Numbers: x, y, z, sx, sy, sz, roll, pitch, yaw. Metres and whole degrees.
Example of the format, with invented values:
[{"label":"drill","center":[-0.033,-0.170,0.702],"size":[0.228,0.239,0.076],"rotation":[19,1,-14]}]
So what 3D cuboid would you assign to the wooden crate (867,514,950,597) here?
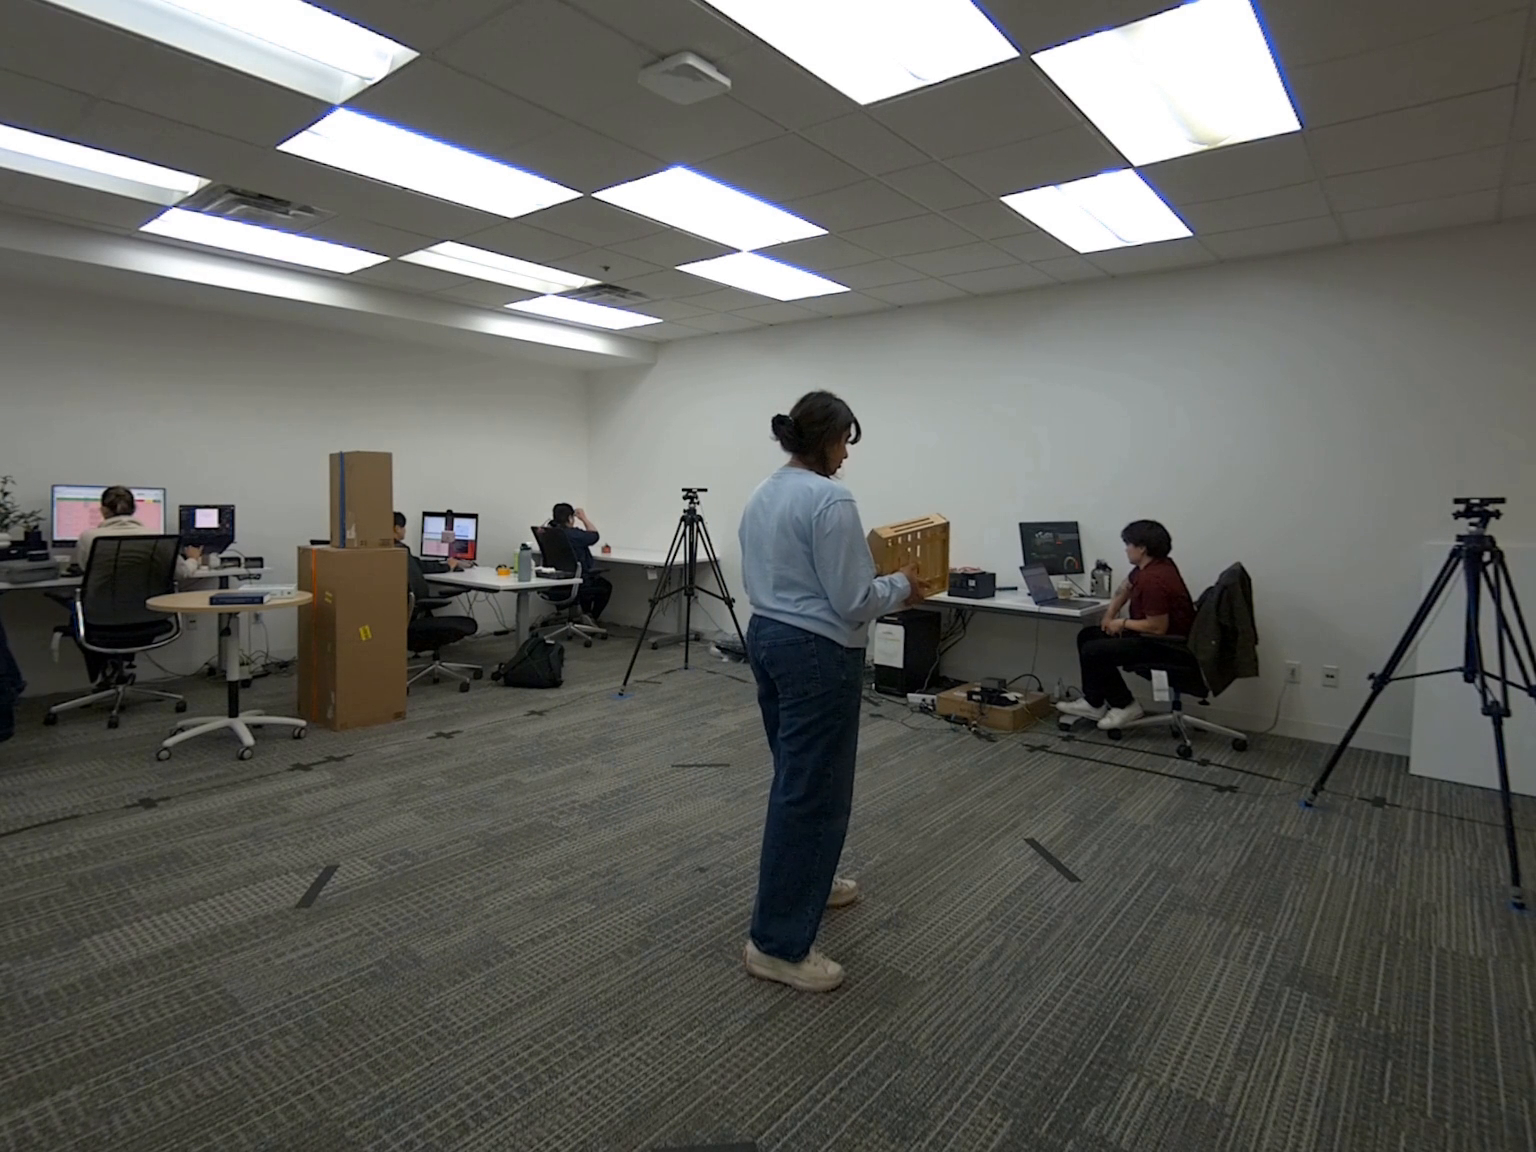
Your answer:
[{"label":"wooden crate","center":[0.367,-0.047,2.730],"size":[0.317,0.298,0.284],"rotation":[-14,19,-35]}]
